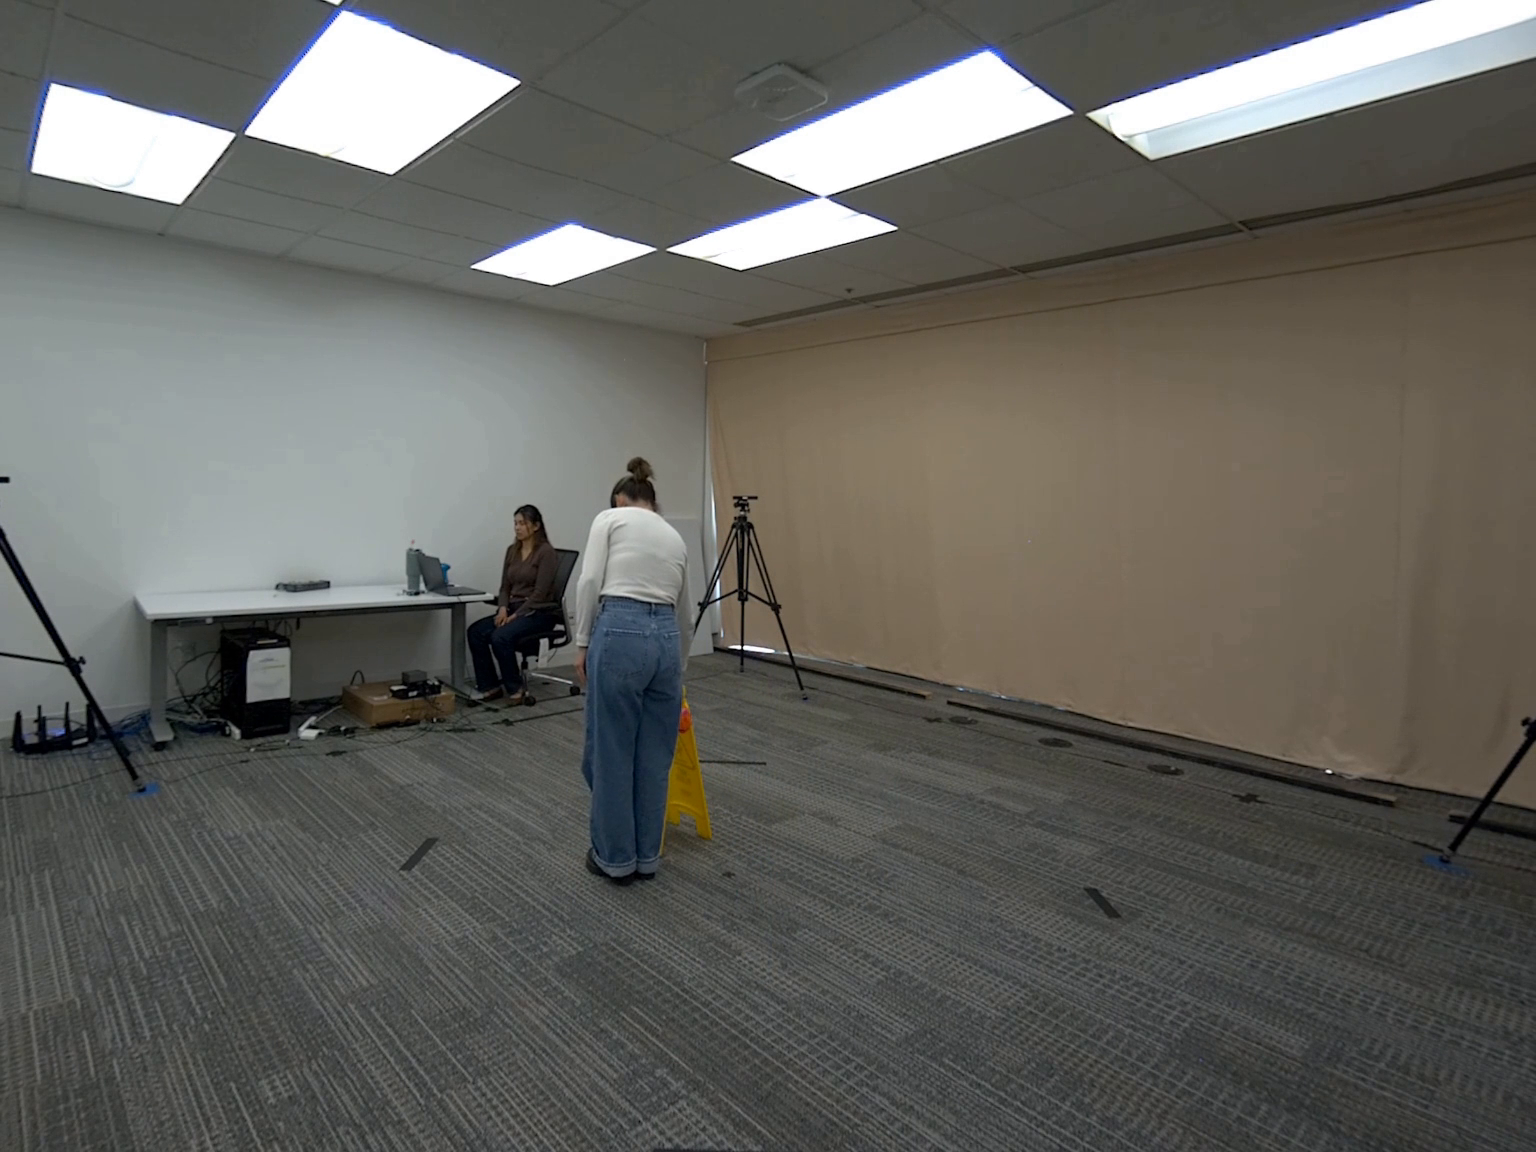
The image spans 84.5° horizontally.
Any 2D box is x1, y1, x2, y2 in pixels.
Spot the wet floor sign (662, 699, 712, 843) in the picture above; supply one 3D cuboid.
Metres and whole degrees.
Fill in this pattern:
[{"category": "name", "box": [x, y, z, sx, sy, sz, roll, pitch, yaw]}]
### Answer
[{"category": "wet floor sign", "box": [-0.419, 0.749, 3.415, 0.283, 0.645, 0.289, -1, 4, -44]}]
